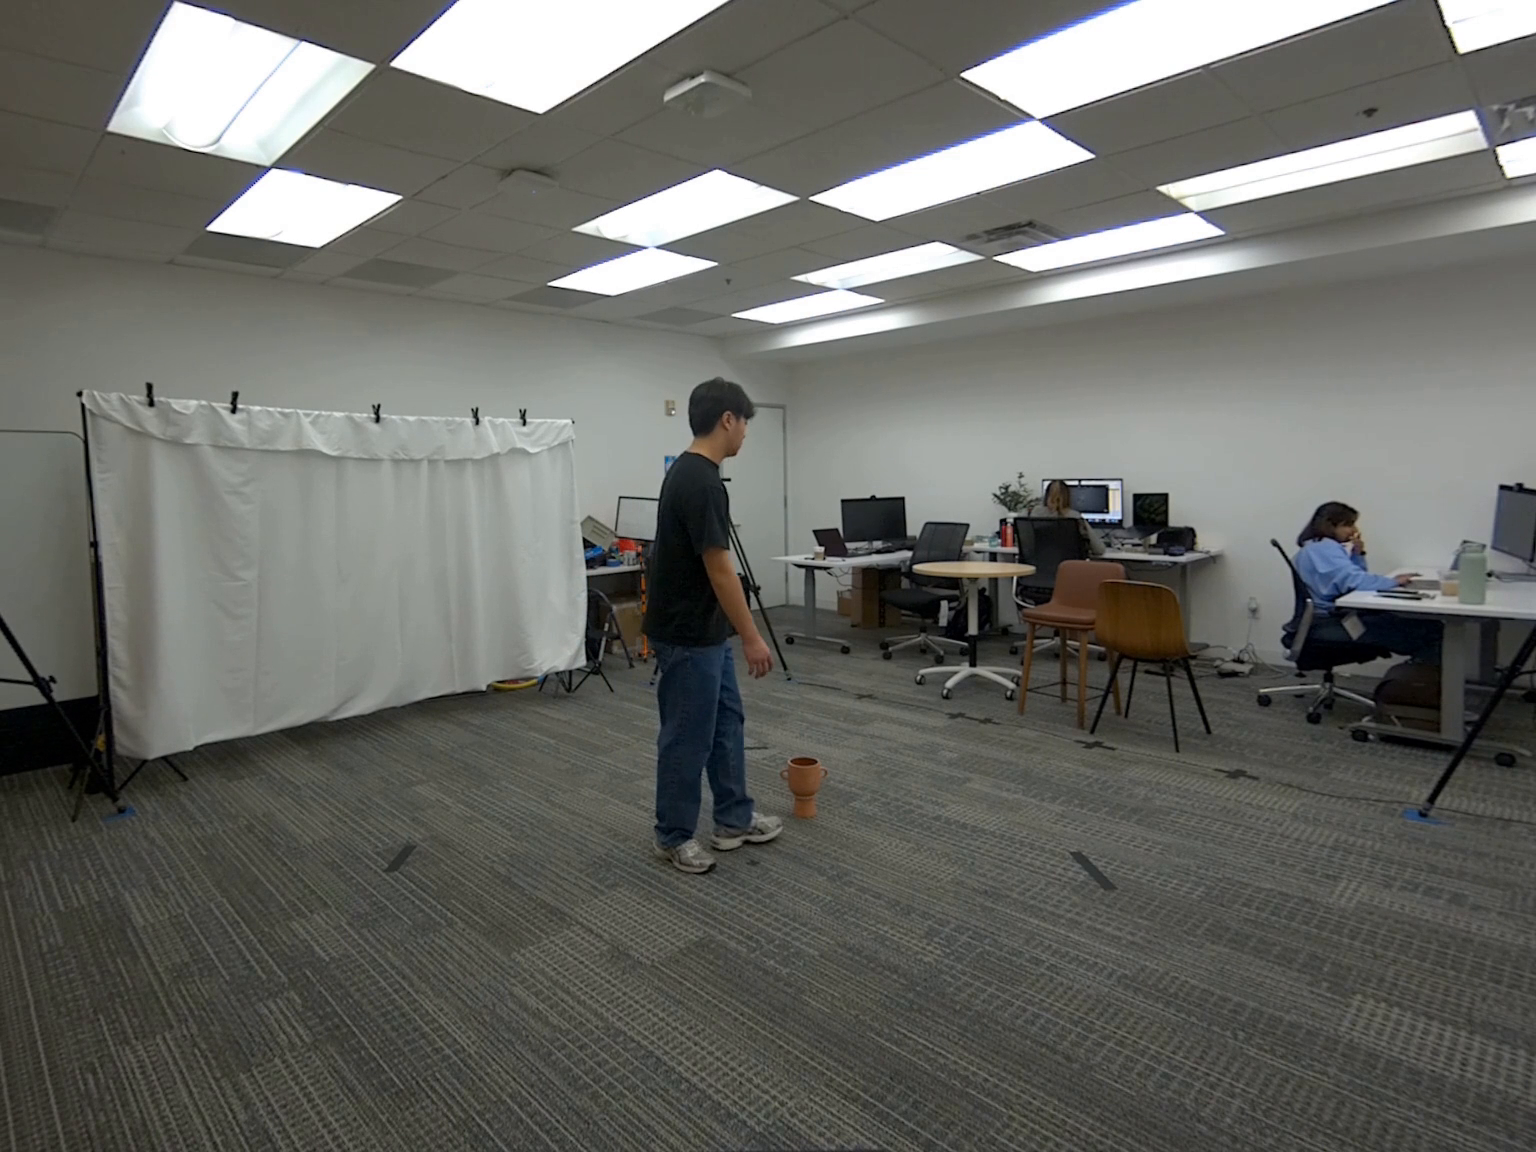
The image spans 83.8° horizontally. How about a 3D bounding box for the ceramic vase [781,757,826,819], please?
[{"bbox_3d":[0.152,0.875,3.546,0.163,0.219,0.131,3,6,34],"label":"ceramic vase"}]
